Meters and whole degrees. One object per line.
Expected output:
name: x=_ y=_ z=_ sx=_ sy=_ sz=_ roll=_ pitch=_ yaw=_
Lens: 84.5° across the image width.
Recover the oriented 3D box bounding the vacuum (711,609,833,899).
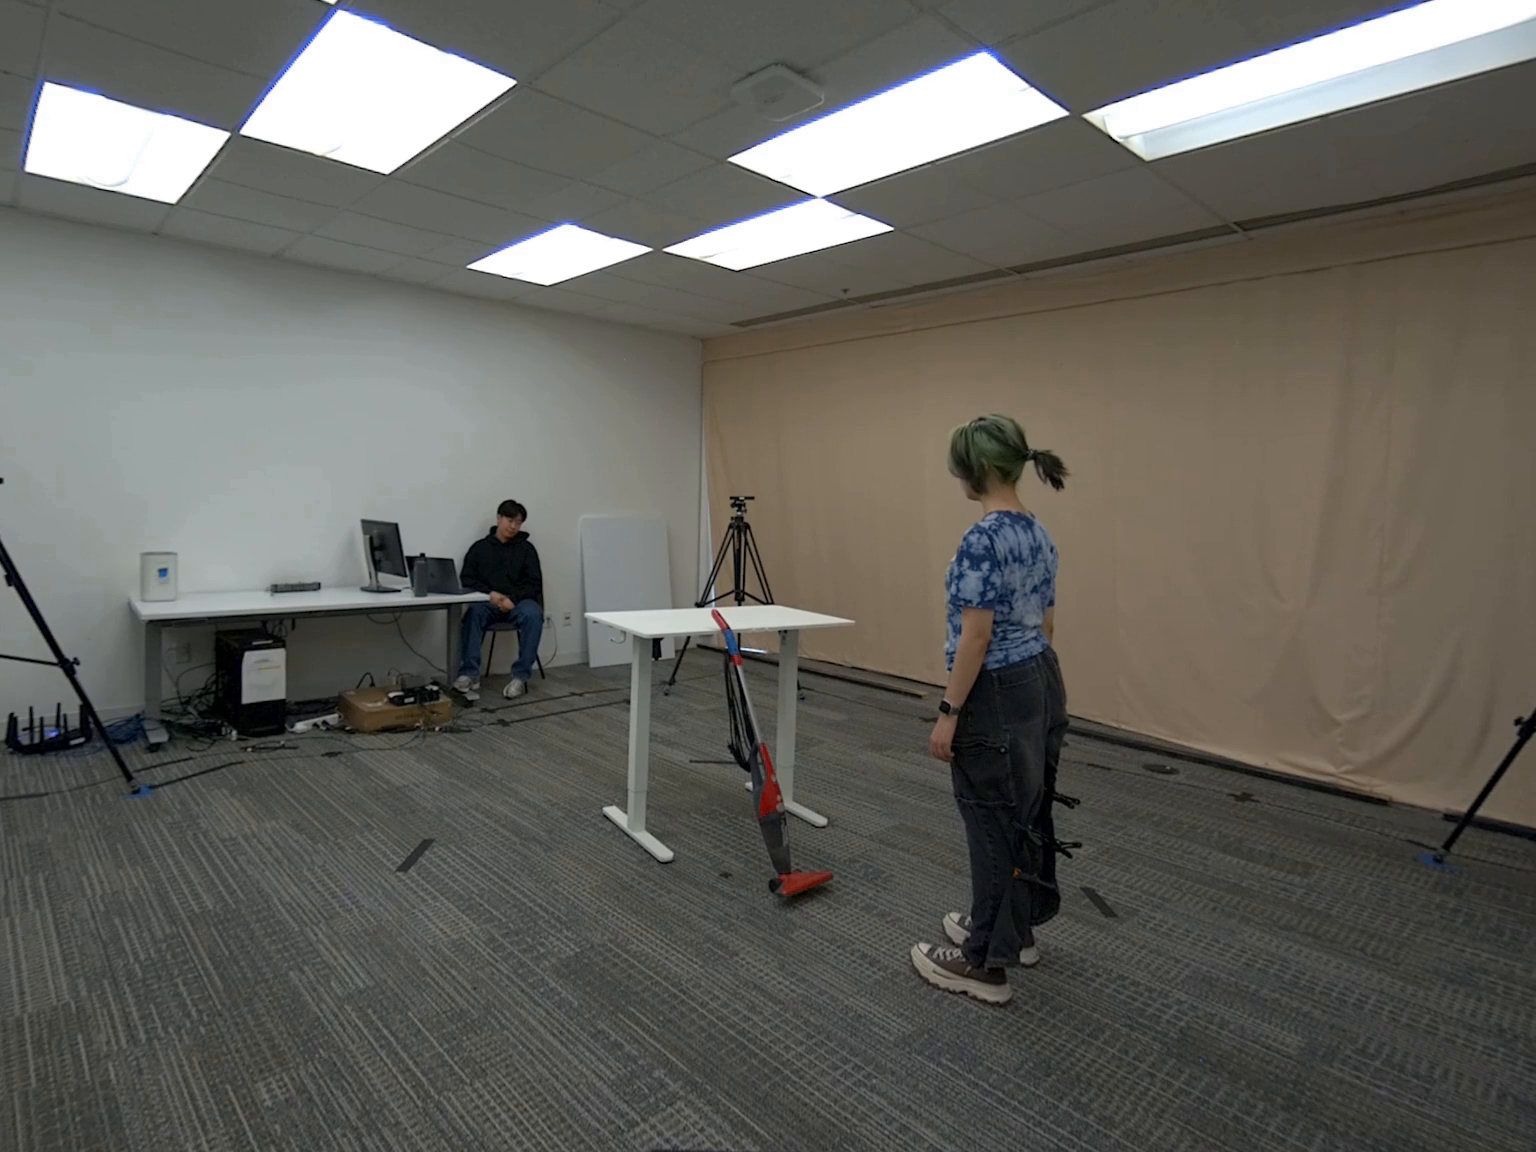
vacuum: x=-0.064 y=0.626 z=3.124 sx=0.247 sy=1.066 sz=0.145 roll=-1 pitch=-24 yaw=-44
